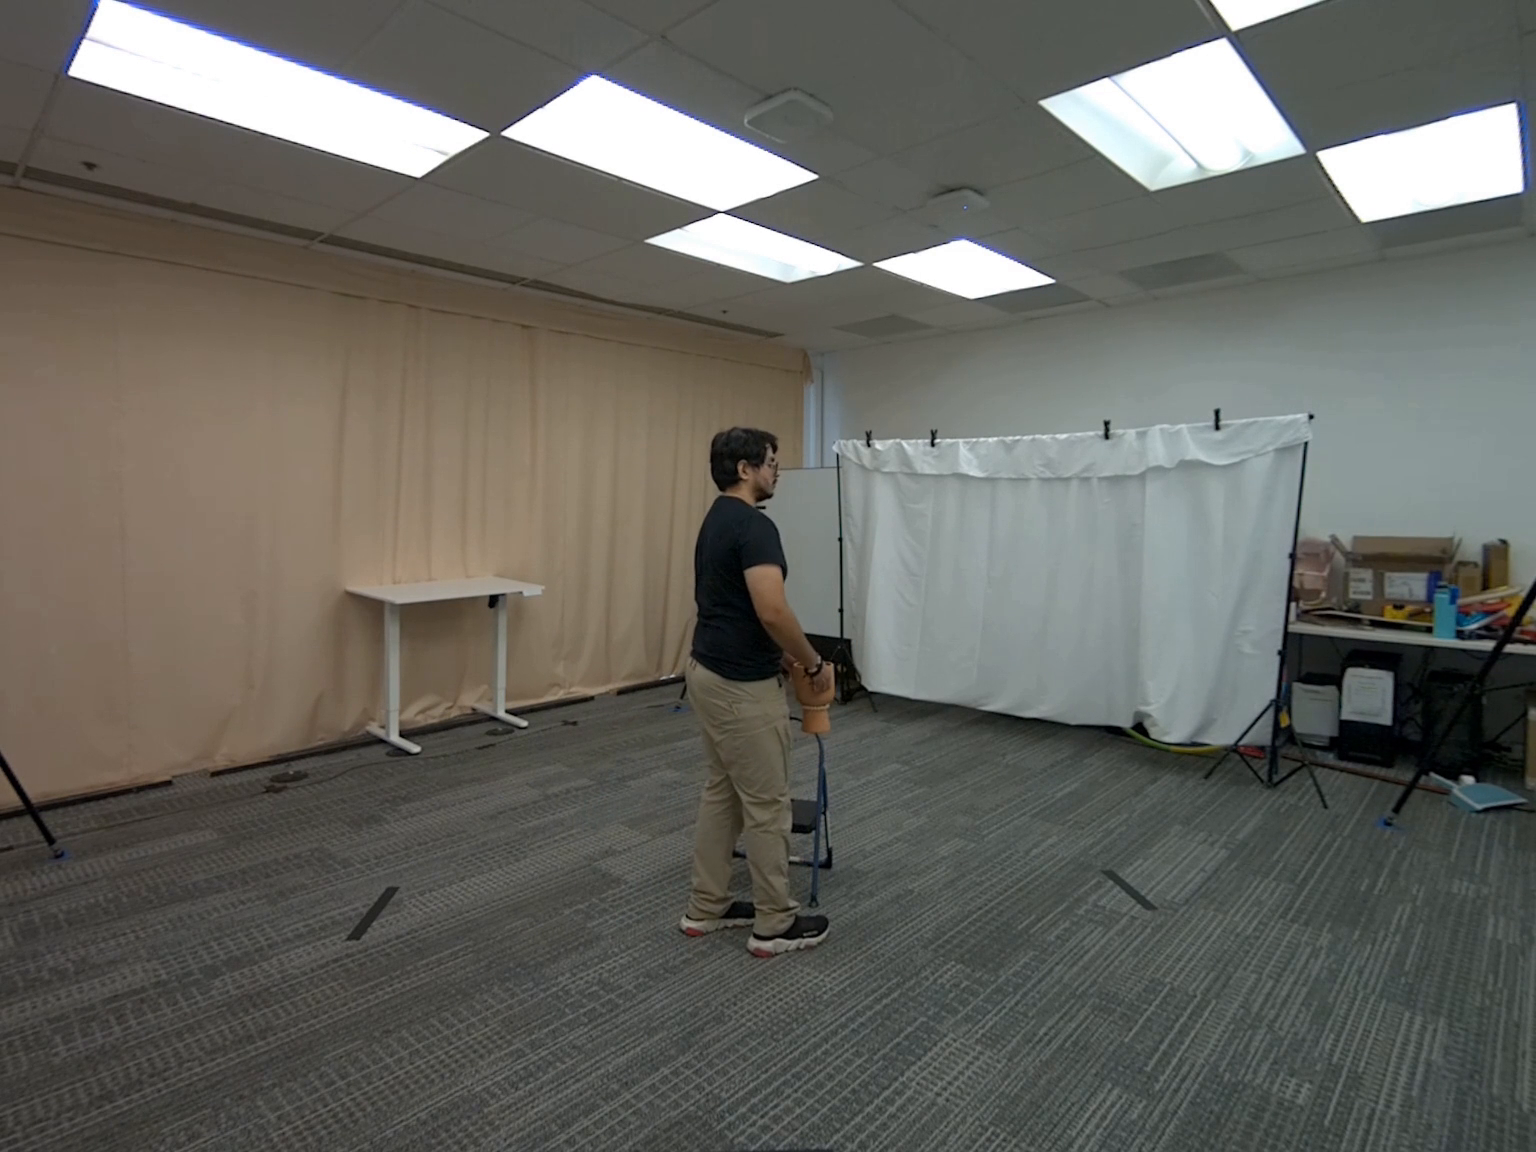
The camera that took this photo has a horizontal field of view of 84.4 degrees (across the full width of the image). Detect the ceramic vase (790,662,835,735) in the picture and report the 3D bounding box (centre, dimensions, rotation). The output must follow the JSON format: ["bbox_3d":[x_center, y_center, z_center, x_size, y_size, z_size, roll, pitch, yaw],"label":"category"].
[{"bbox_3d":[0.156,0.408,2.799,0.138,0.219,0.155,-1,4,26],"label":"ceramic vase"}]
